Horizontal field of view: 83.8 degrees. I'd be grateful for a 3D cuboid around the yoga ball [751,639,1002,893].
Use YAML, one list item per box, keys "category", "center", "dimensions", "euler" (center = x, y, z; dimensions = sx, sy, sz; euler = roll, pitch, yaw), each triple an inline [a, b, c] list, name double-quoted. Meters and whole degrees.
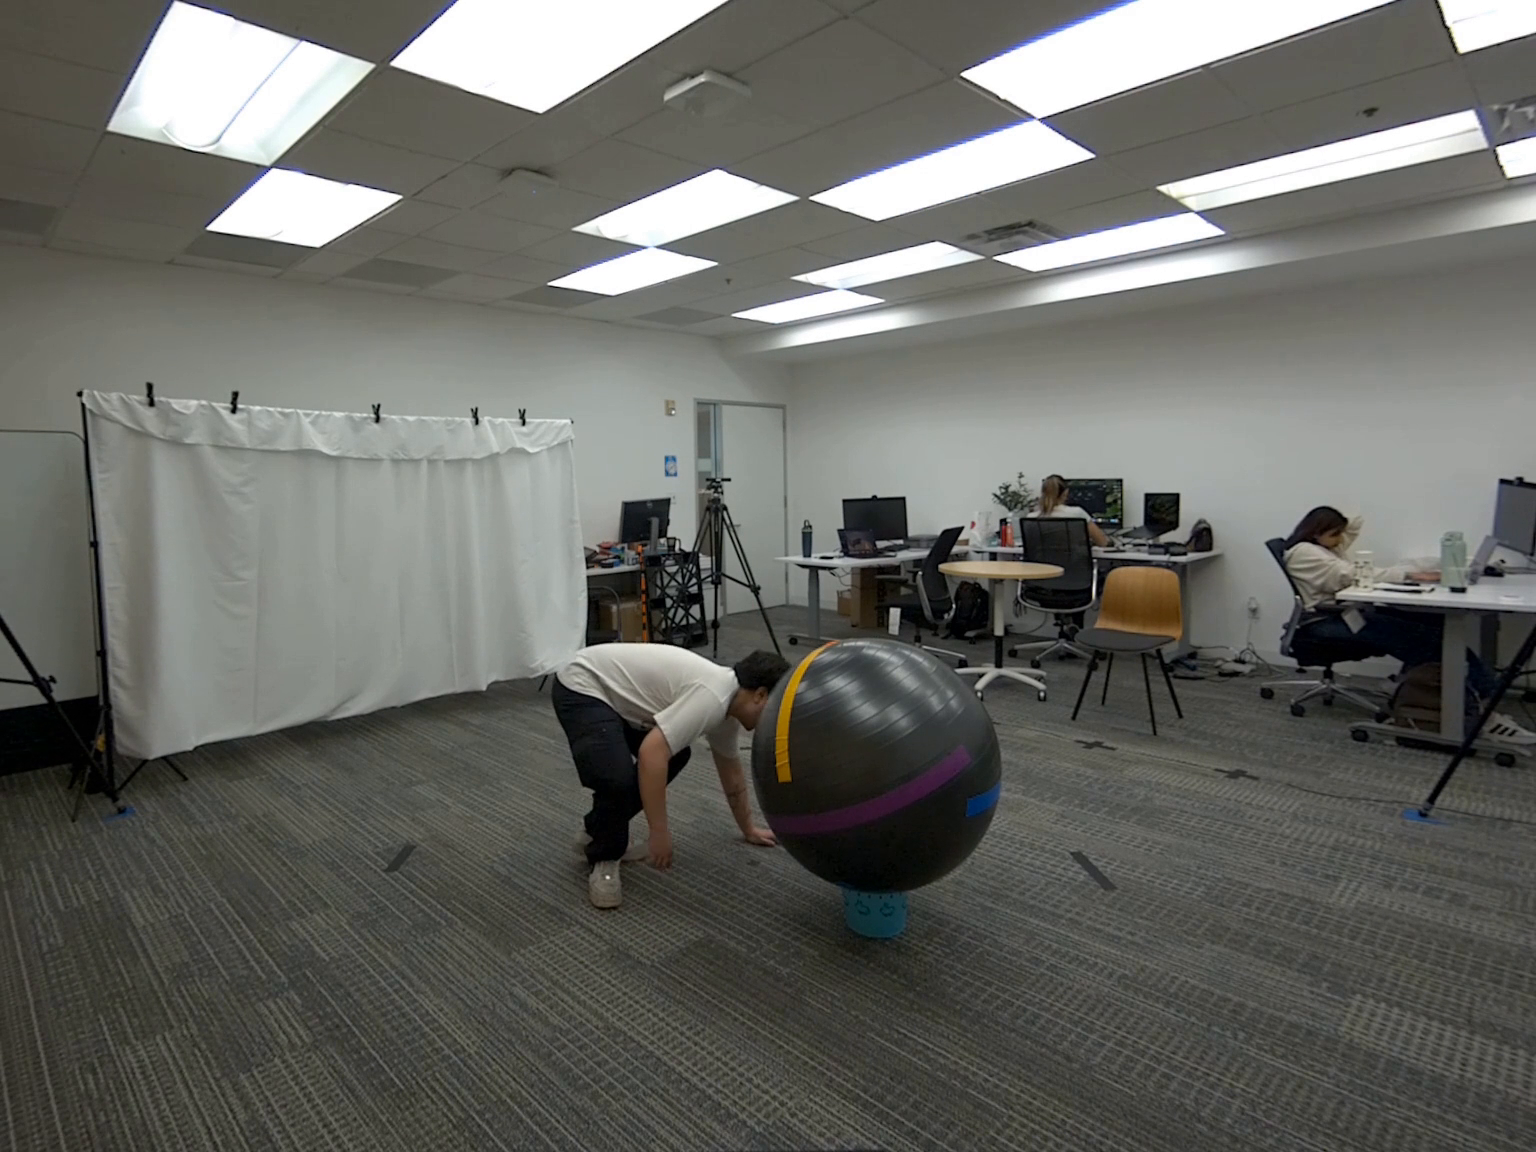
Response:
- category: "yoga ball"
  center: [0.335, 0.581, 2.636]
  dimensions: [0.757, 0.755, 0.762]
  euler: [-1, 5, -2]
